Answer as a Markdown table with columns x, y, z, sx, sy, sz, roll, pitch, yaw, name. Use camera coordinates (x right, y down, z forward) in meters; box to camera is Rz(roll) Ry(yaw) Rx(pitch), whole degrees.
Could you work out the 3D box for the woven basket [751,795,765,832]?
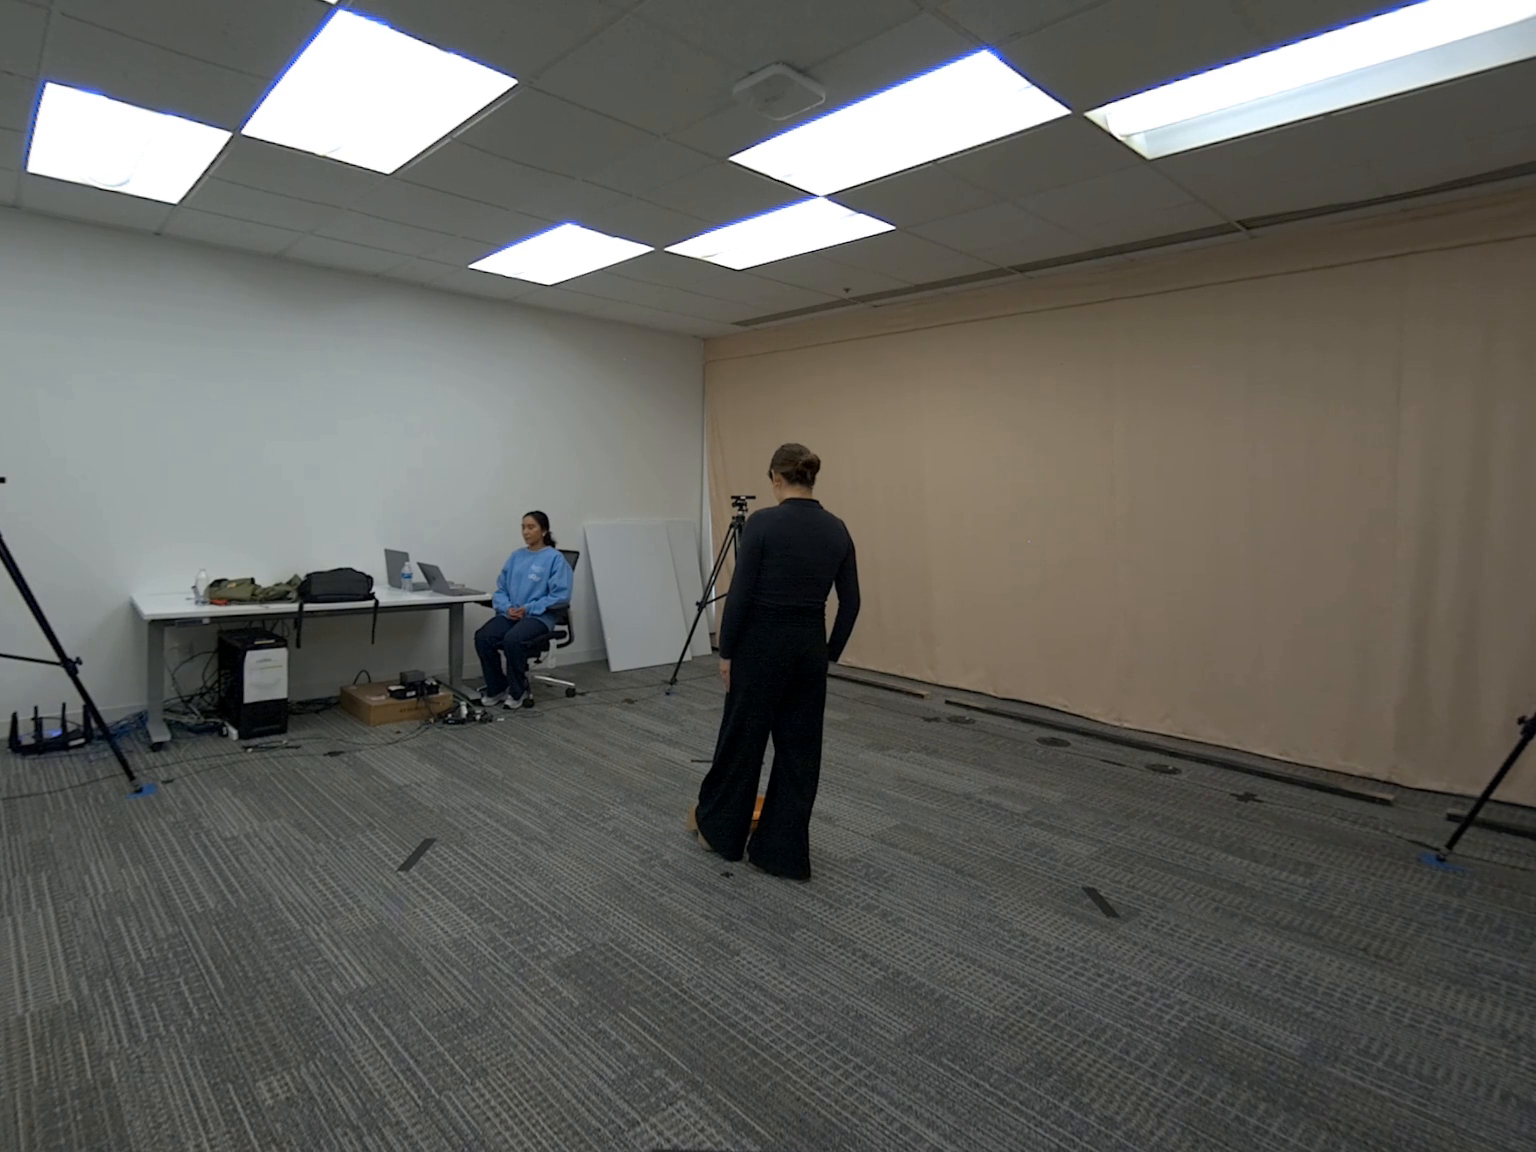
| x | y | z | sx | sy | sz | roll | pitch | yaw | name |
| --- | --- | --- | --- | --- | --- | --- | --- | --- | --- |
| -0.093 | 1.019 | 3.609 | 0.346 | 0.073 | 0.256 | 0 | 7 | -14 | woven basket |
